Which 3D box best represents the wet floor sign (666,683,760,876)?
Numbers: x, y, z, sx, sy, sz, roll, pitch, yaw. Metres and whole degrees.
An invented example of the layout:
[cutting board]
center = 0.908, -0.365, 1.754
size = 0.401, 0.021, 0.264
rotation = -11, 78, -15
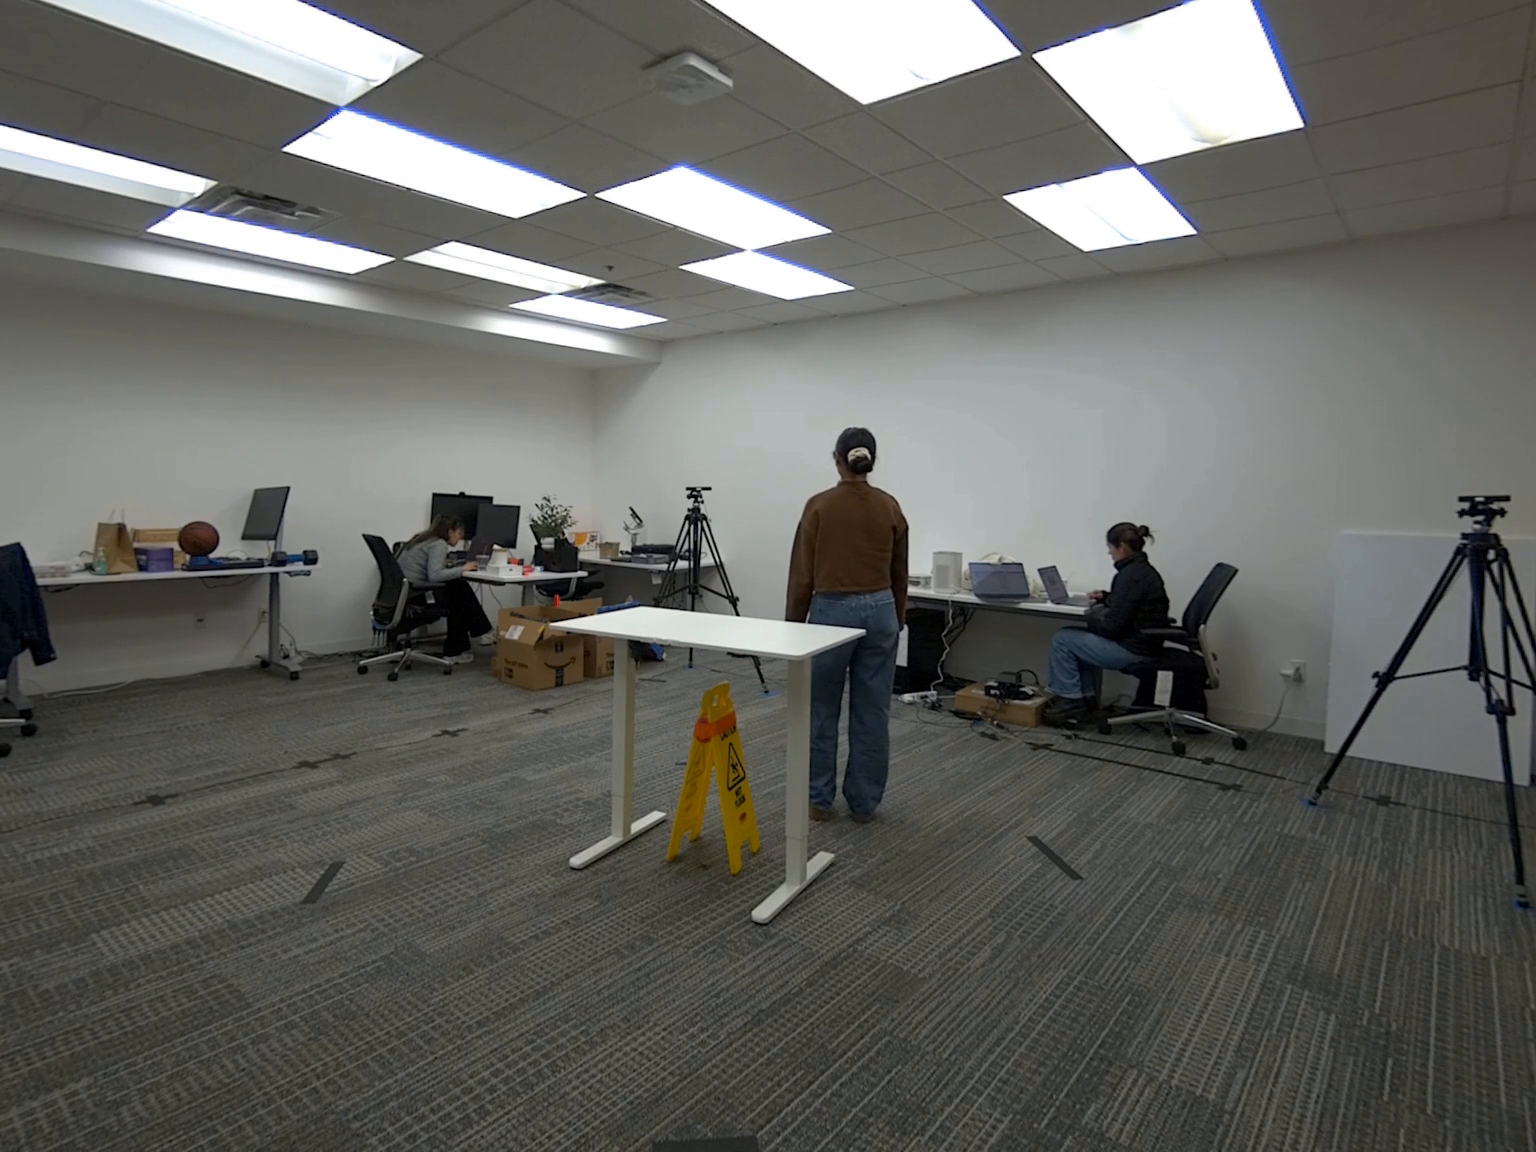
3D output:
[wet floor sign]
center = -0.211, 0.731, 3.218
size = 0.296, 0.645, 0.276
rotation = 1, 1, 22
